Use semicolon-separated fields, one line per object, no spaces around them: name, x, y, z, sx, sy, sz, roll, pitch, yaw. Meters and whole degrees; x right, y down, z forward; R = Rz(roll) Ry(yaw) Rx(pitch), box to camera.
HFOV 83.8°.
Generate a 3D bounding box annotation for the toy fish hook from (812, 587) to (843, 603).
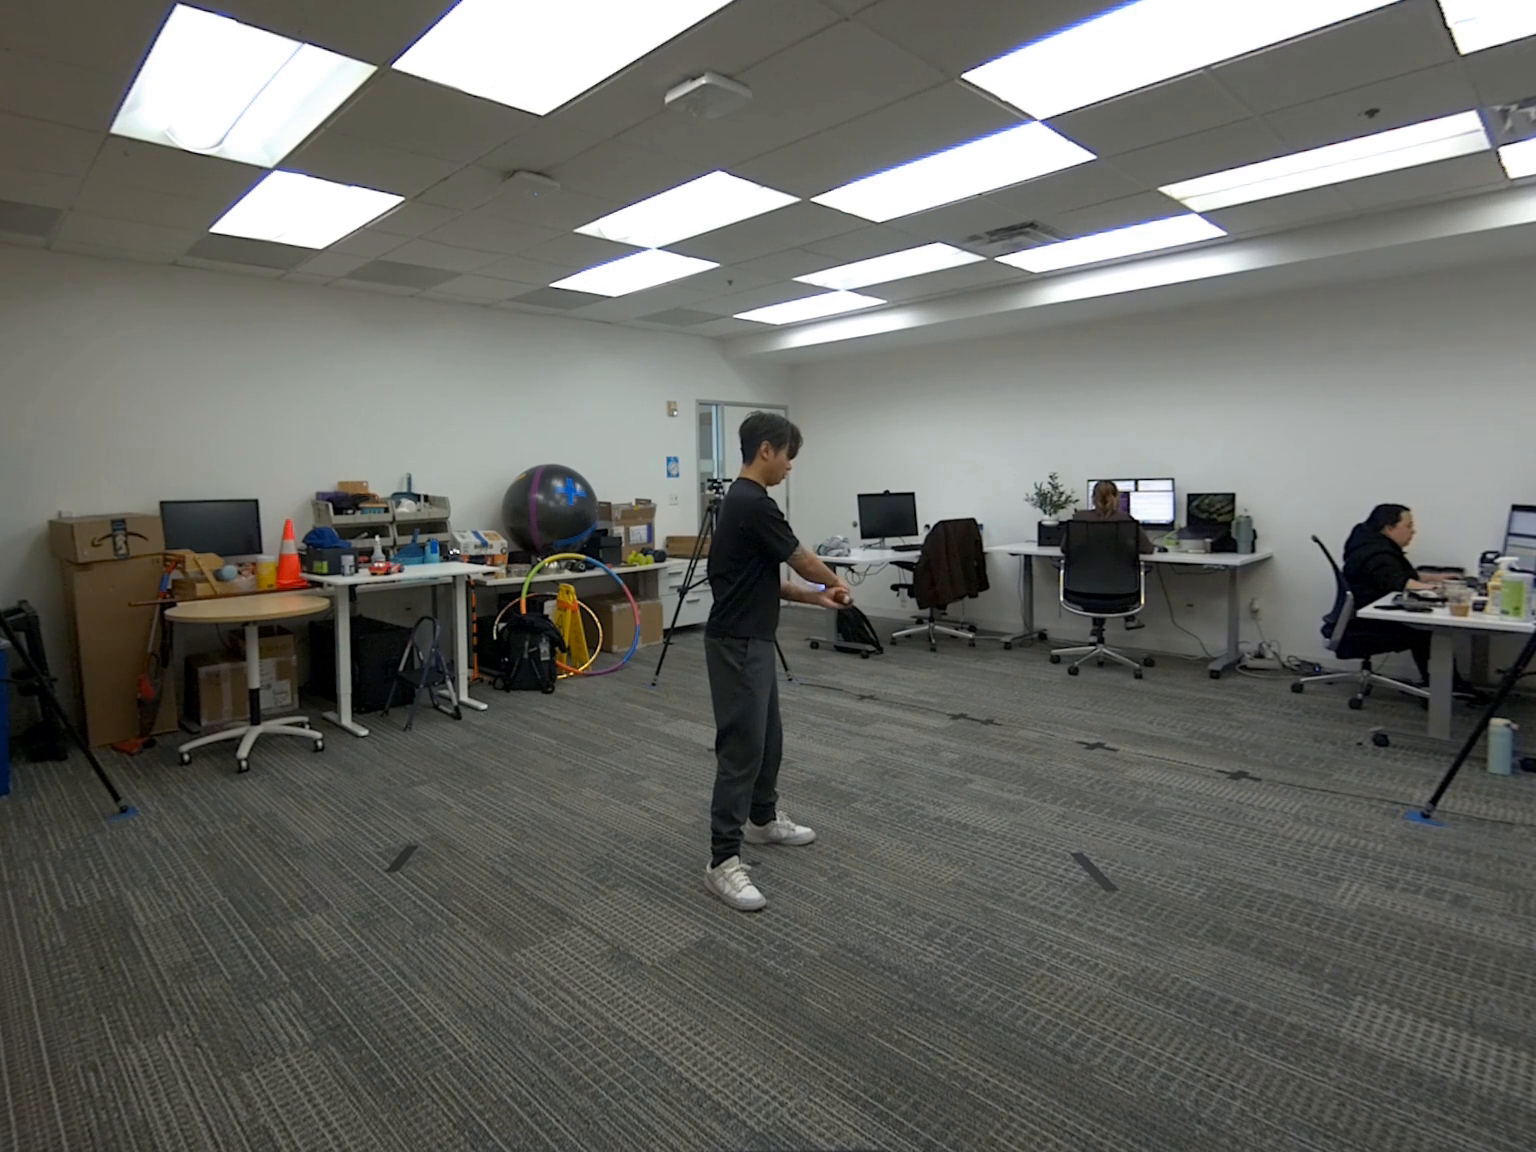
toy fish hook;0.279;0.068;3.362;0.221;0.048;0.517;18;6;-16
